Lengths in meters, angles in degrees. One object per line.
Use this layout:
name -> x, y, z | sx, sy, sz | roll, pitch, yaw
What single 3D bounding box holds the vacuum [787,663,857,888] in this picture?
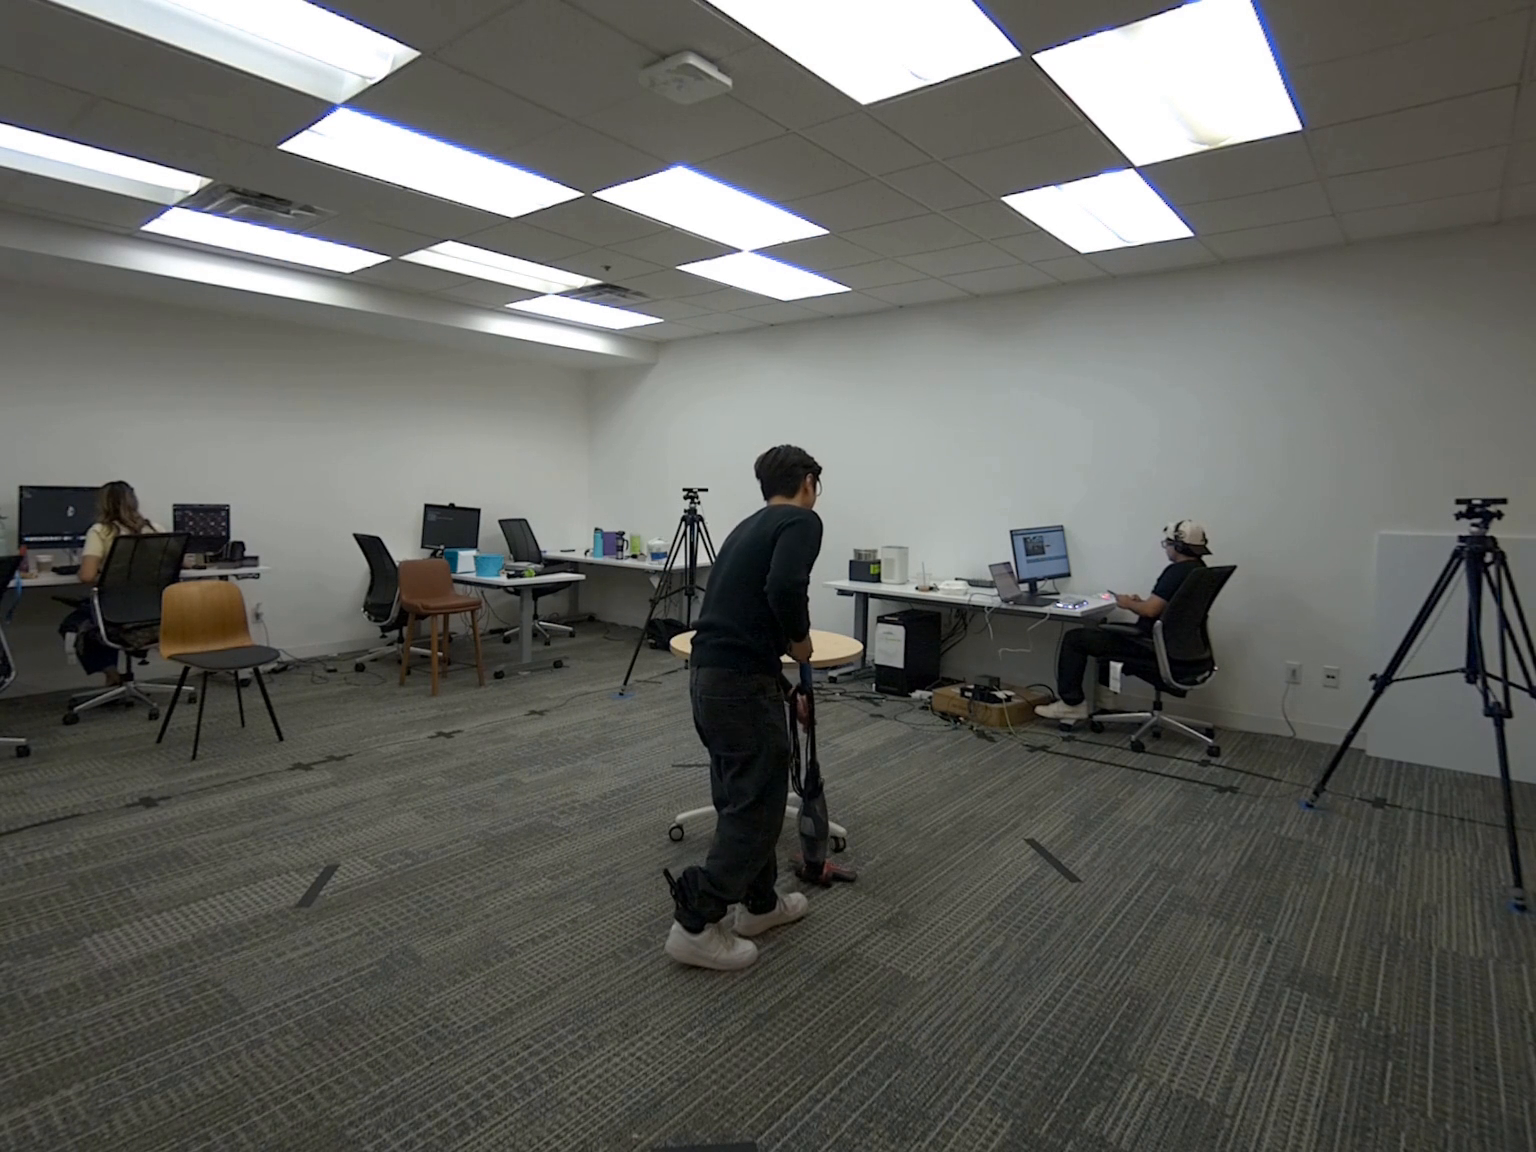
vacuum -> 0.135, 0.646, 2.806 | 0.259, 1.019, 0.144 | 8, 34, 24
